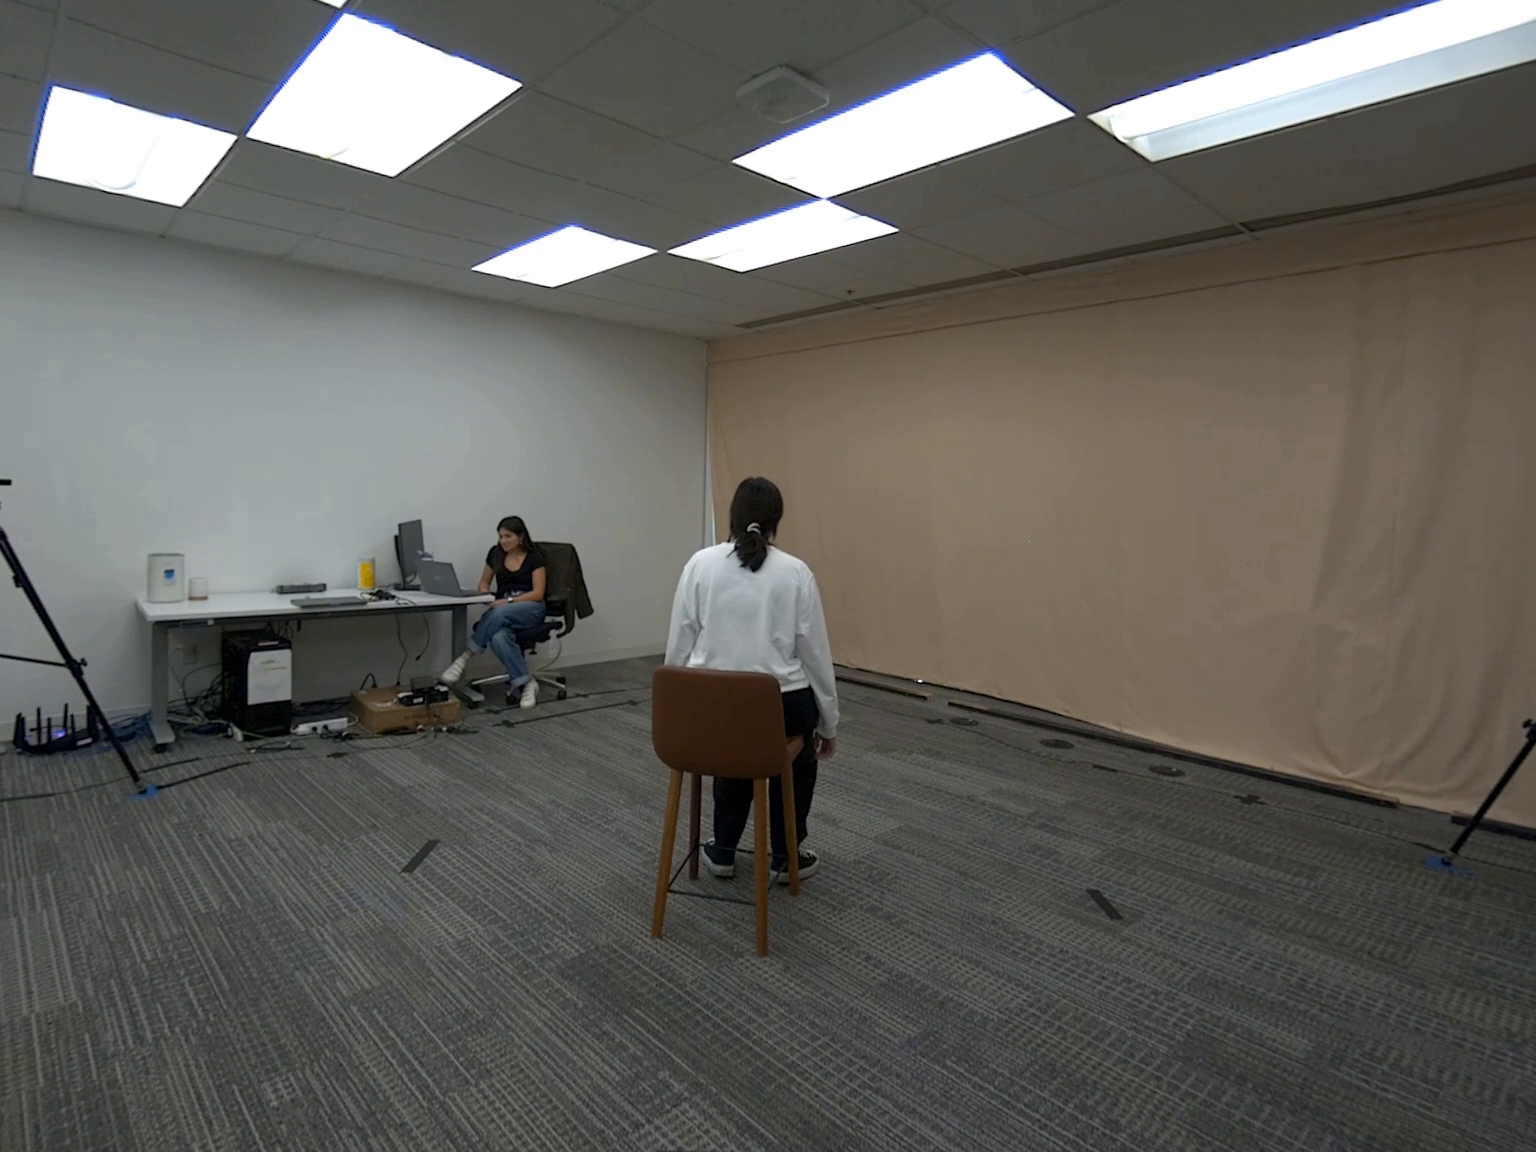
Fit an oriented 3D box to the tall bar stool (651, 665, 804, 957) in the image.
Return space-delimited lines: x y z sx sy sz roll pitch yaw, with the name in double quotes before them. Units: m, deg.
"tall bar stool" -0.140 0.705 2.789 0.462 0.886 0.463 3 5 15
